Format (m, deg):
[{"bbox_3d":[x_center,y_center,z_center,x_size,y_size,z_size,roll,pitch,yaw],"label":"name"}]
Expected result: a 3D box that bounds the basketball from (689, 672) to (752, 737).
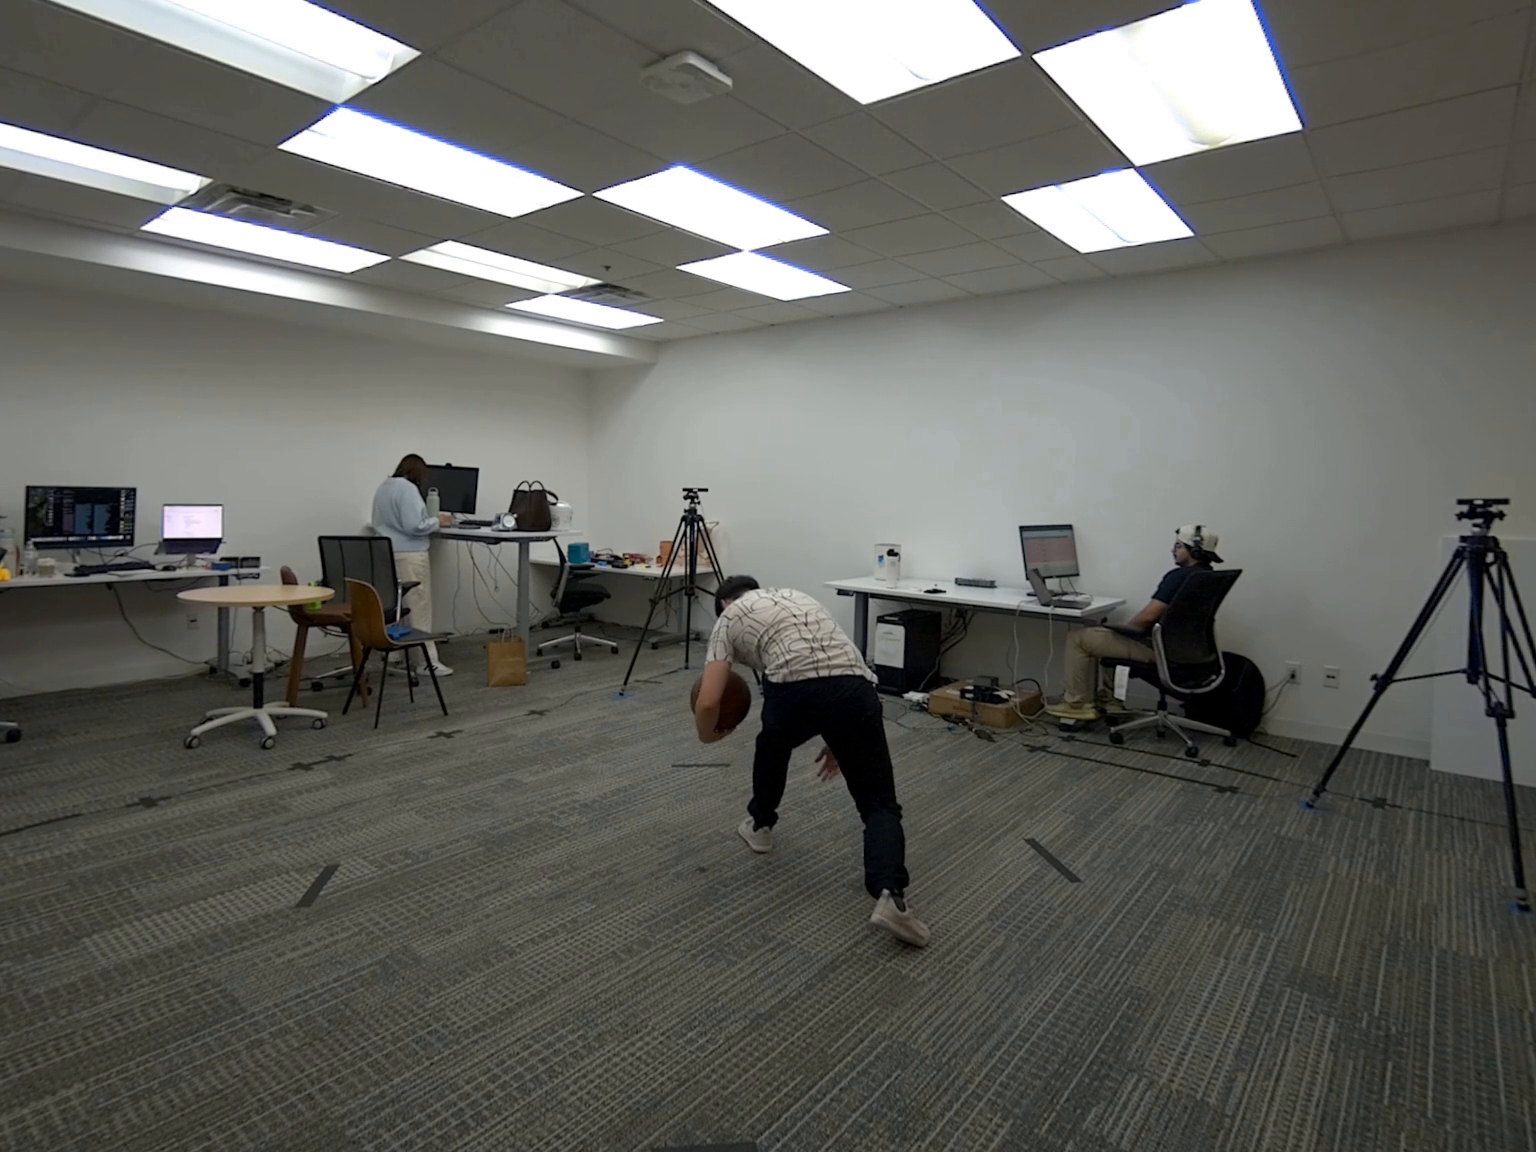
[{"bbox_3d":[-0.195,0.477,3.318,0.235,0.235,0.237,1,4,-2],"label":"basketball"}]
